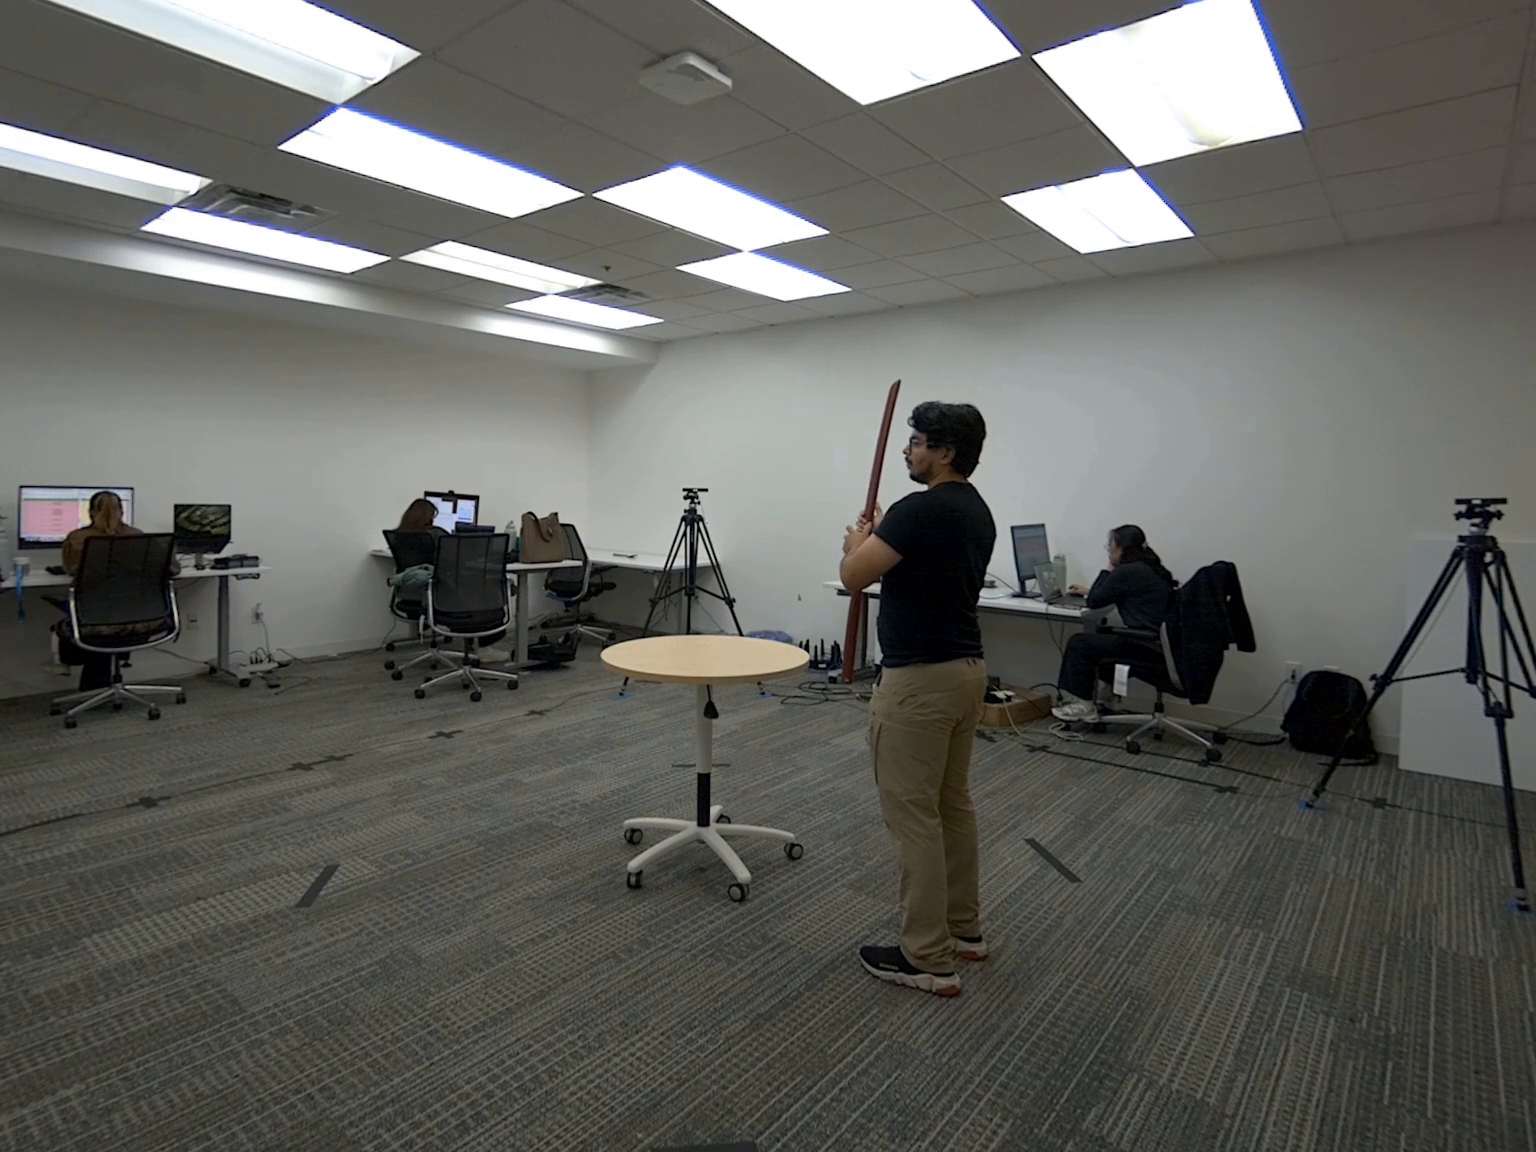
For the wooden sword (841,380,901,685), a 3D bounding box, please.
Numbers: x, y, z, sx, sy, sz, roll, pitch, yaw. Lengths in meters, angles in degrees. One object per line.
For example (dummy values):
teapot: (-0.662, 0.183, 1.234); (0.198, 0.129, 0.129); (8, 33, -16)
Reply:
wooden sword: (0.335, -0.161, 2.772); (0.024, 1.033, 0.052); (13, -11, -14)
